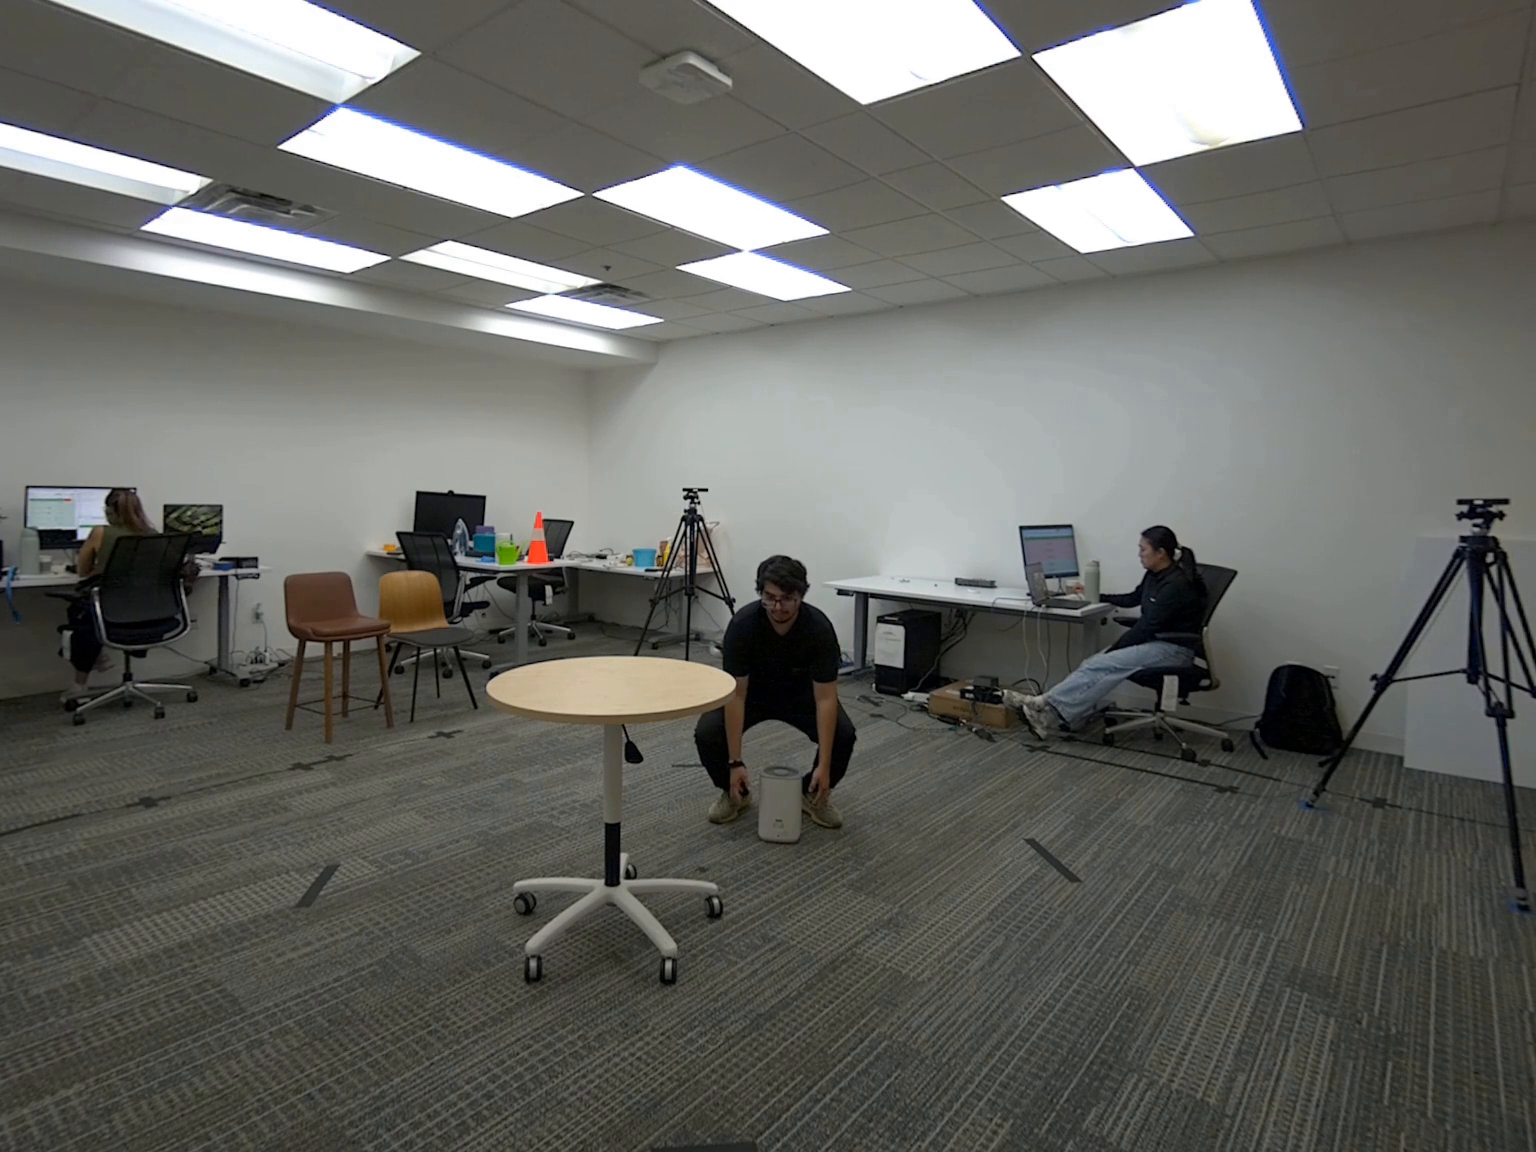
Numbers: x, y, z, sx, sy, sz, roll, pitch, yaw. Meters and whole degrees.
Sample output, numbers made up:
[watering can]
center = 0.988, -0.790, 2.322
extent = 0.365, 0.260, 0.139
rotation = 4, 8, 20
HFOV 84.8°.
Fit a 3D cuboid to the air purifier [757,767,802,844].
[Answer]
[air purifier]
center = 0.046, 0.912, 3.422
extent = 0.170, 0.261, 0.173
rotation = 3, 3, 7
